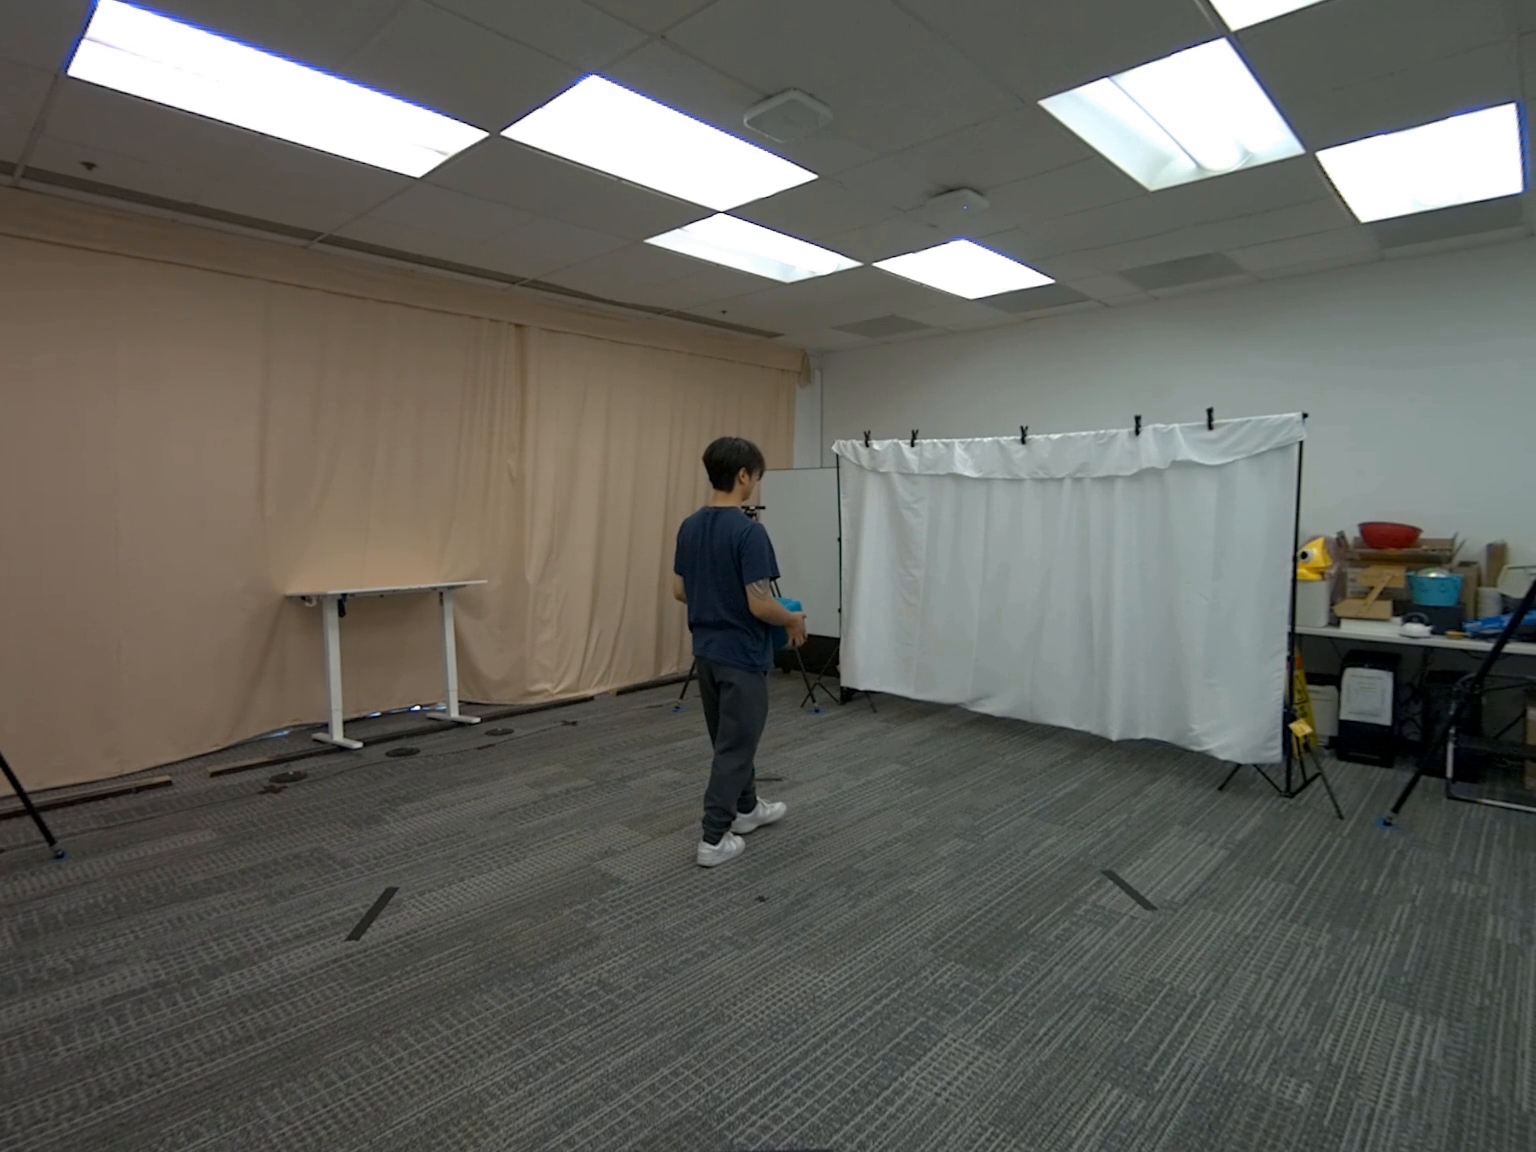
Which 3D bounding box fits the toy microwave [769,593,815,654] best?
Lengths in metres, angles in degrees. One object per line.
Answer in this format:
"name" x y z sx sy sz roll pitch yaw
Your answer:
"toy microwave" 0.015 0.188 3.489 0.296 0.182 0.149 3 21 44
